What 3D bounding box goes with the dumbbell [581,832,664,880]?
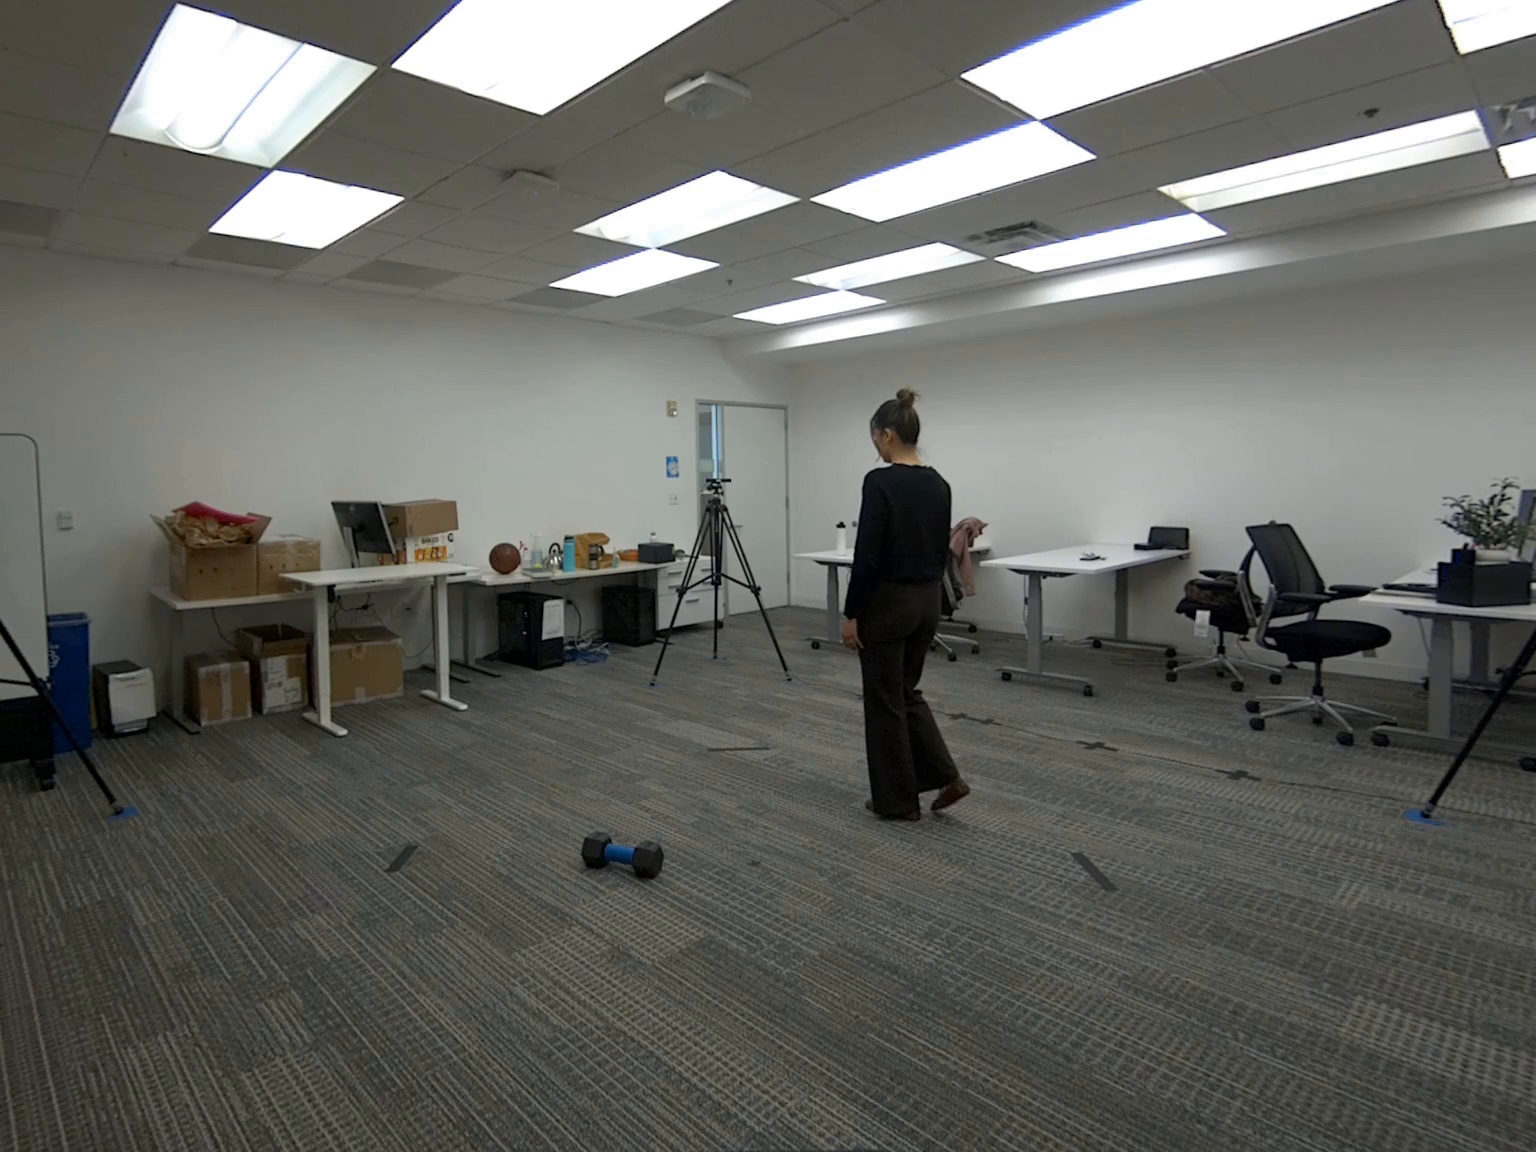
[{"bbox_3d":[-0.521,0.999,3.074,0.300,0.108,0.120,2,4,24],"label":"dumbbell"}]
